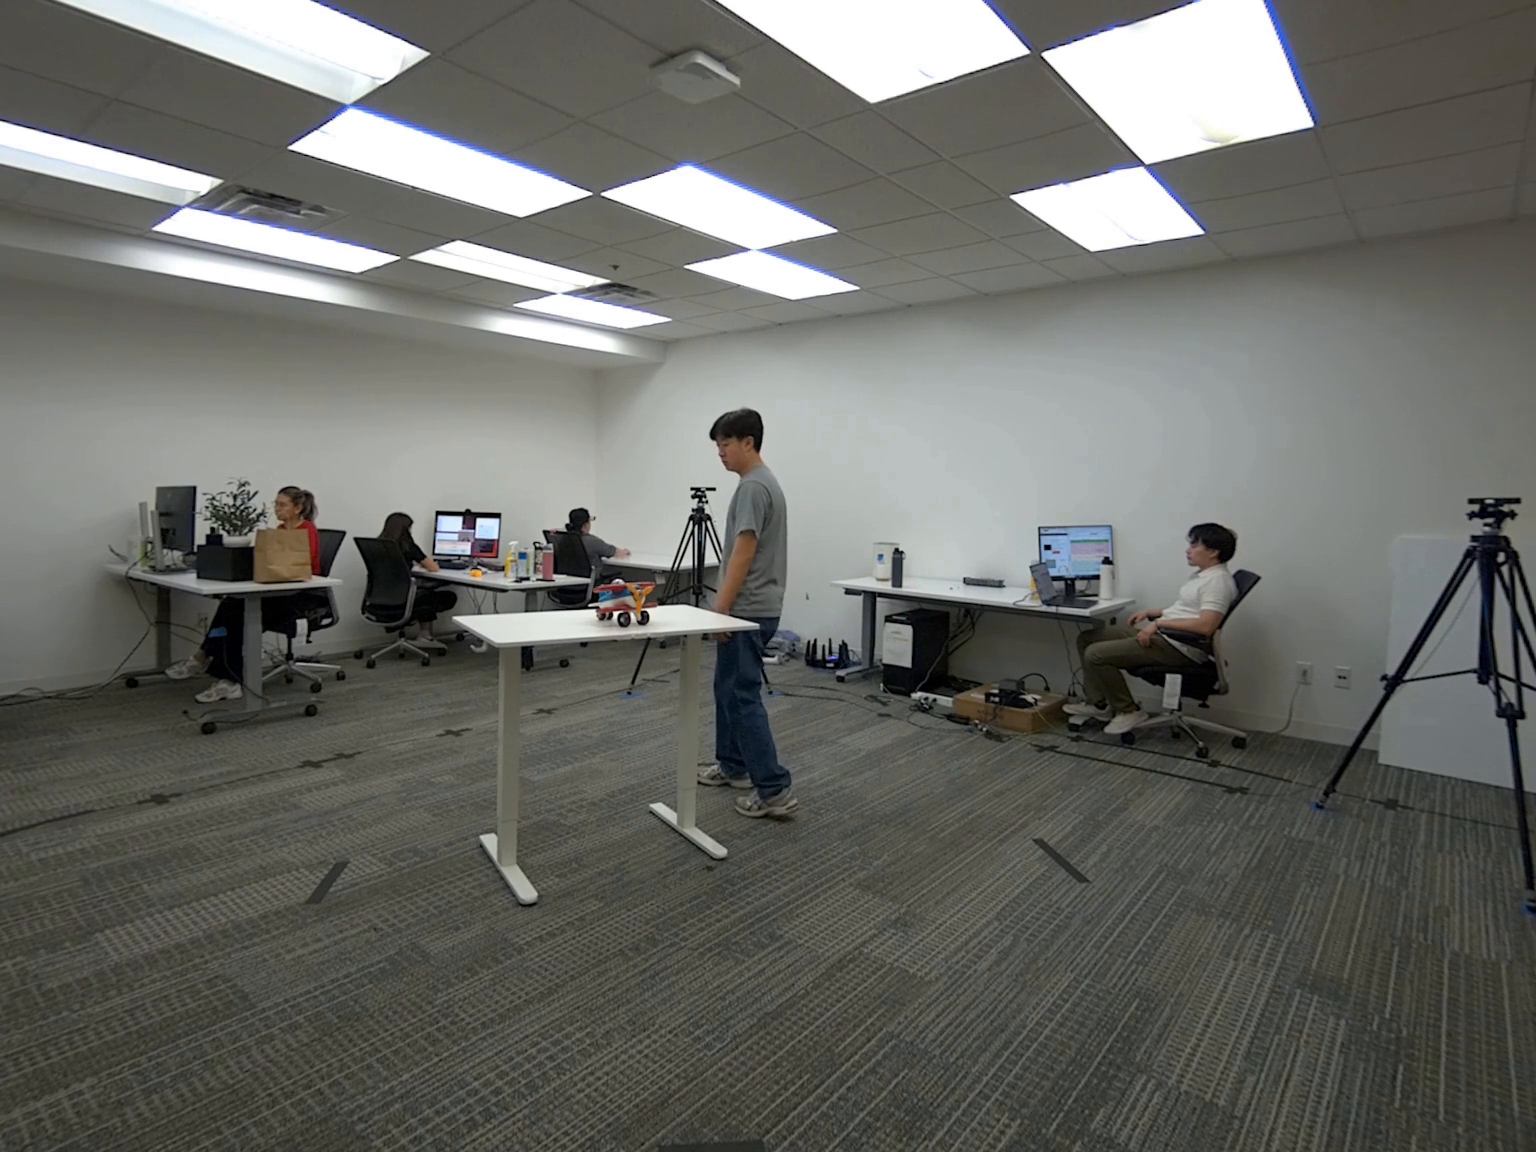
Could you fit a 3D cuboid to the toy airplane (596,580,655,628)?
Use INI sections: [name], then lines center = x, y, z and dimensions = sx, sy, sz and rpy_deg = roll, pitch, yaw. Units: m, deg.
[toy airplane]
center = -0.570, 0.095, 3.151
dimensions = 0.264, 0.156, 0.247
rpy_deg = 4, 4, 17
